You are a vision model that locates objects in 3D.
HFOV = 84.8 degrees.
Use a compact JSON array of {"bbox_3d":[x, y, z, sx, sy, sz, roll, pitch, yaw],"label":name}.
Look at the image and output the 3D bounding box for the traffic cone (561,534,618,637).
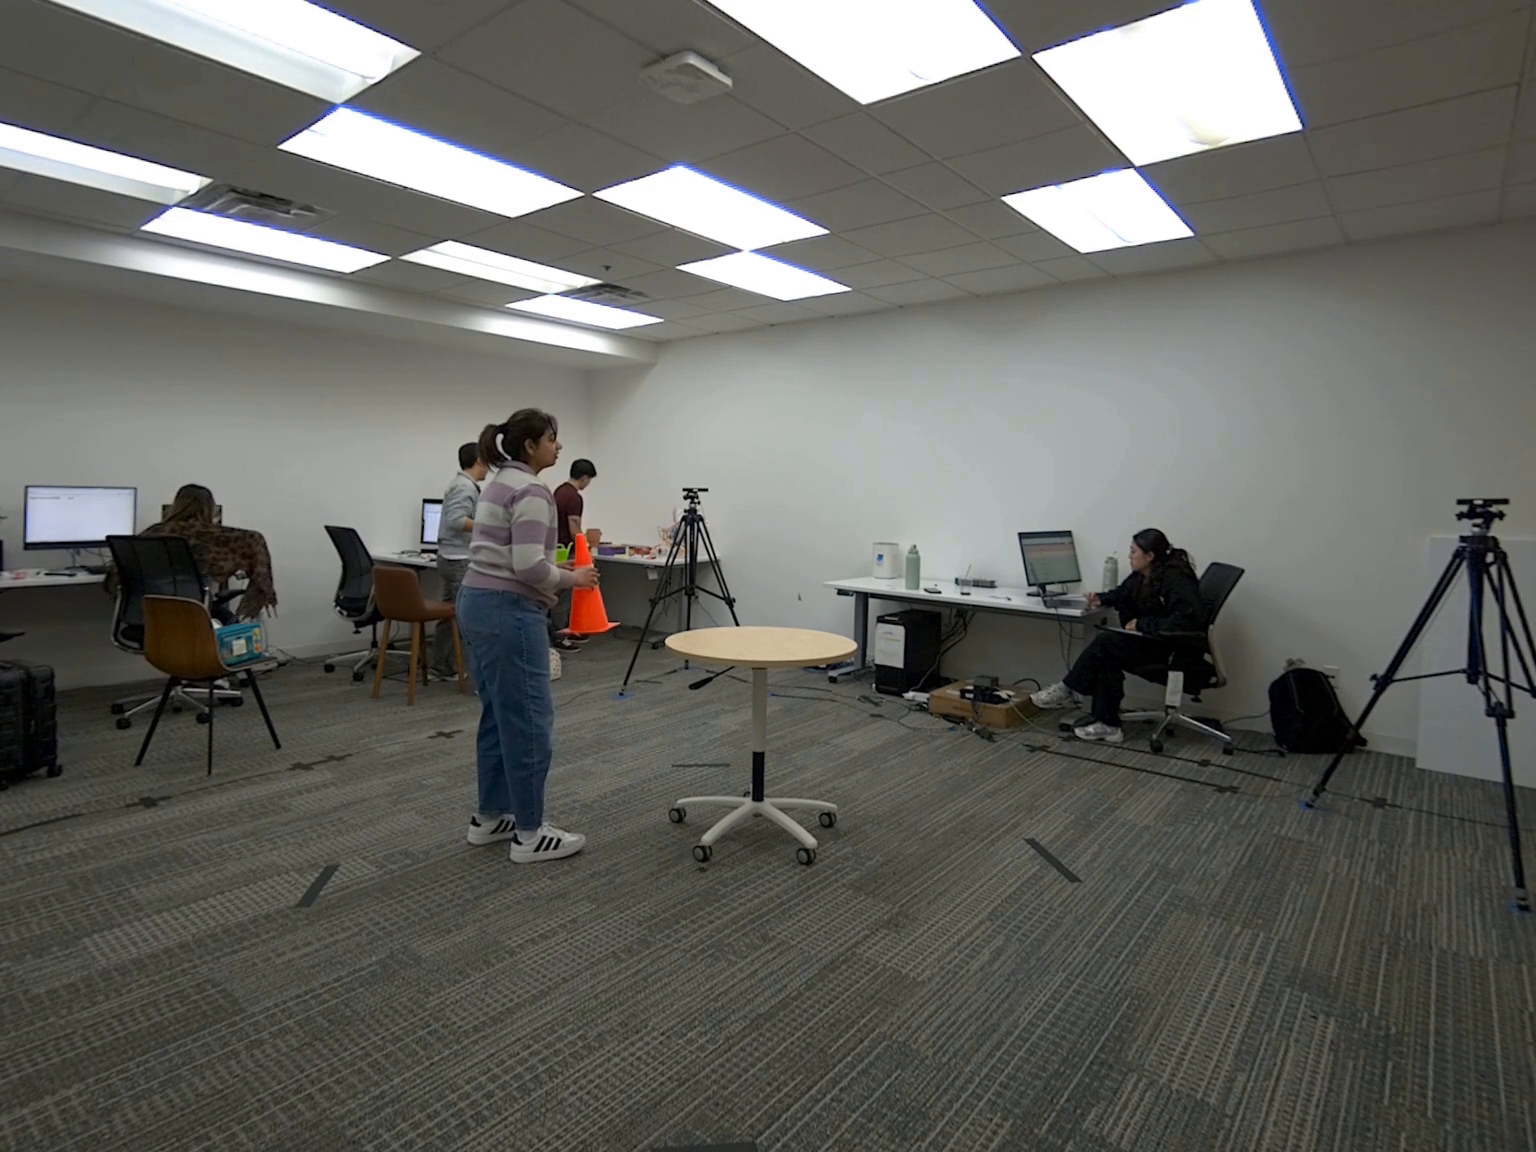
[{"bbox_3d":[-0.755,0.024,3.401,0.198,0.382,0.212,-8,7,-40],"label":"traffic cone"}]
